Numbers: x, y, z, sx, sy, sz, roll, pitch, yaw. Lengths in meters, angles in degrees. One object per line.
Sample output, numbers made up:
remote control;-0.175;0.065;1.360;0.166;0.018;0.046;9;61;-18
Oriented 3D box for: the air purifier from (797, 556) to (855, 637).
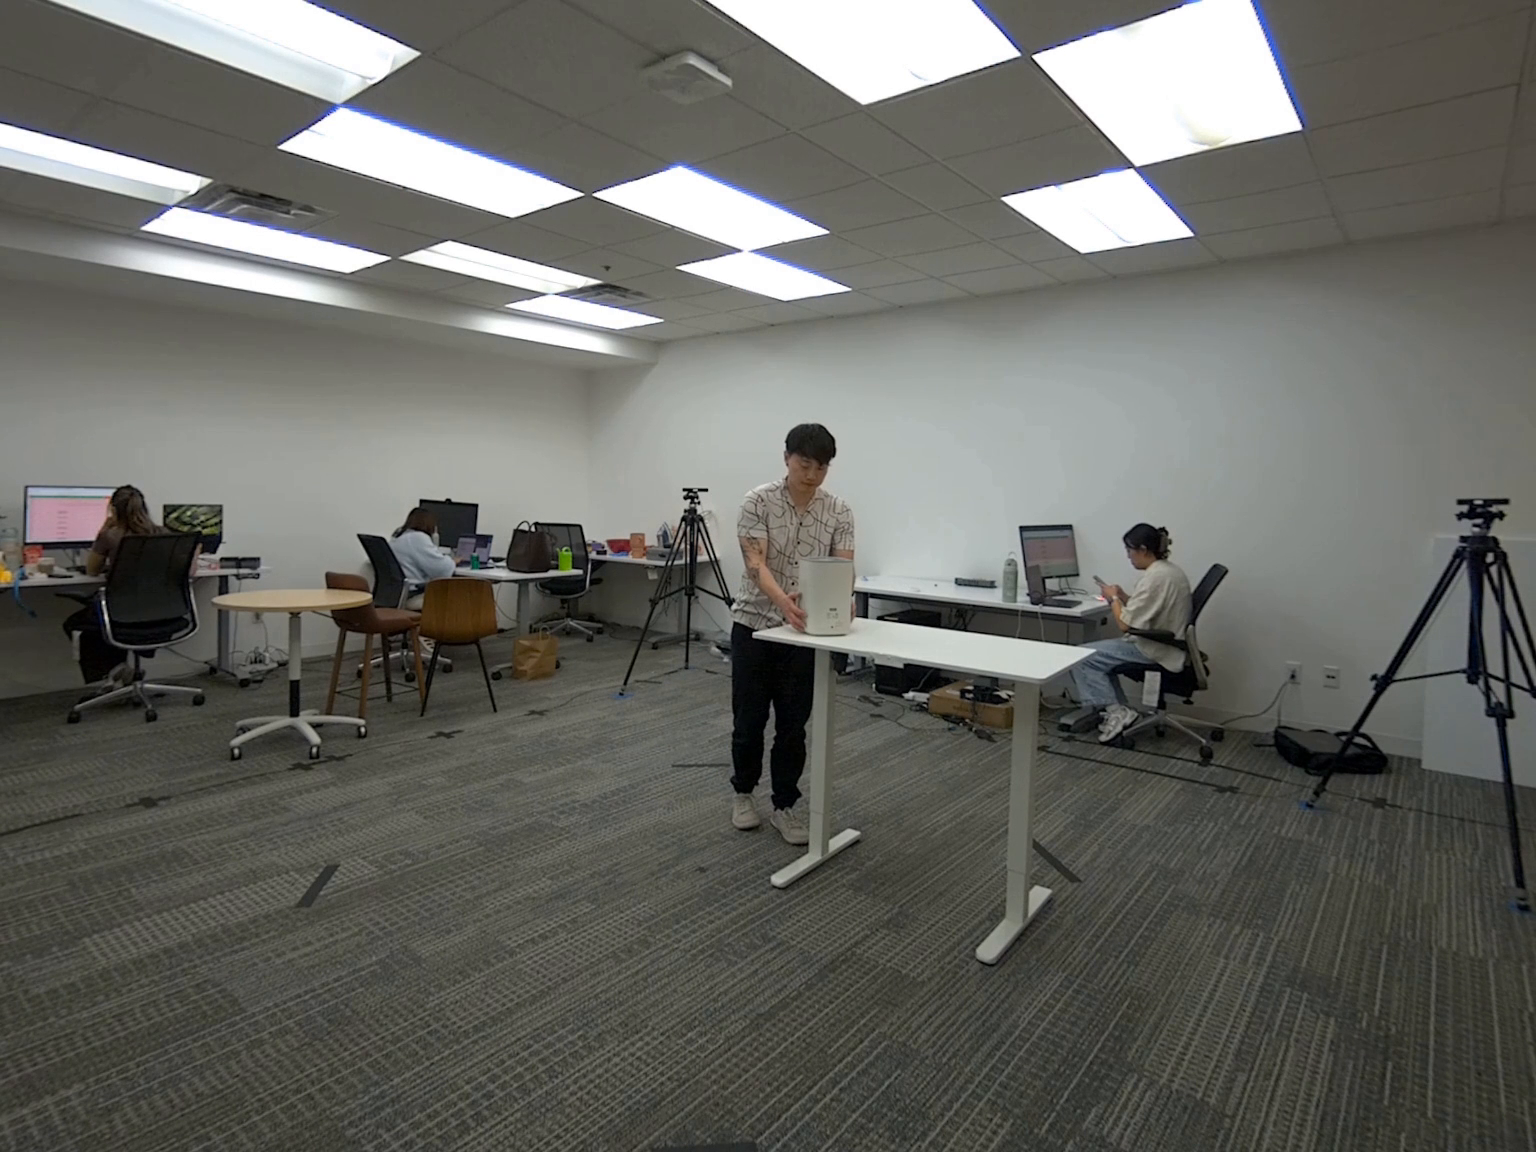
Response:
air purifier;0.198;0.068;3.041;0.169;0.264;0.175;0;4;-14
